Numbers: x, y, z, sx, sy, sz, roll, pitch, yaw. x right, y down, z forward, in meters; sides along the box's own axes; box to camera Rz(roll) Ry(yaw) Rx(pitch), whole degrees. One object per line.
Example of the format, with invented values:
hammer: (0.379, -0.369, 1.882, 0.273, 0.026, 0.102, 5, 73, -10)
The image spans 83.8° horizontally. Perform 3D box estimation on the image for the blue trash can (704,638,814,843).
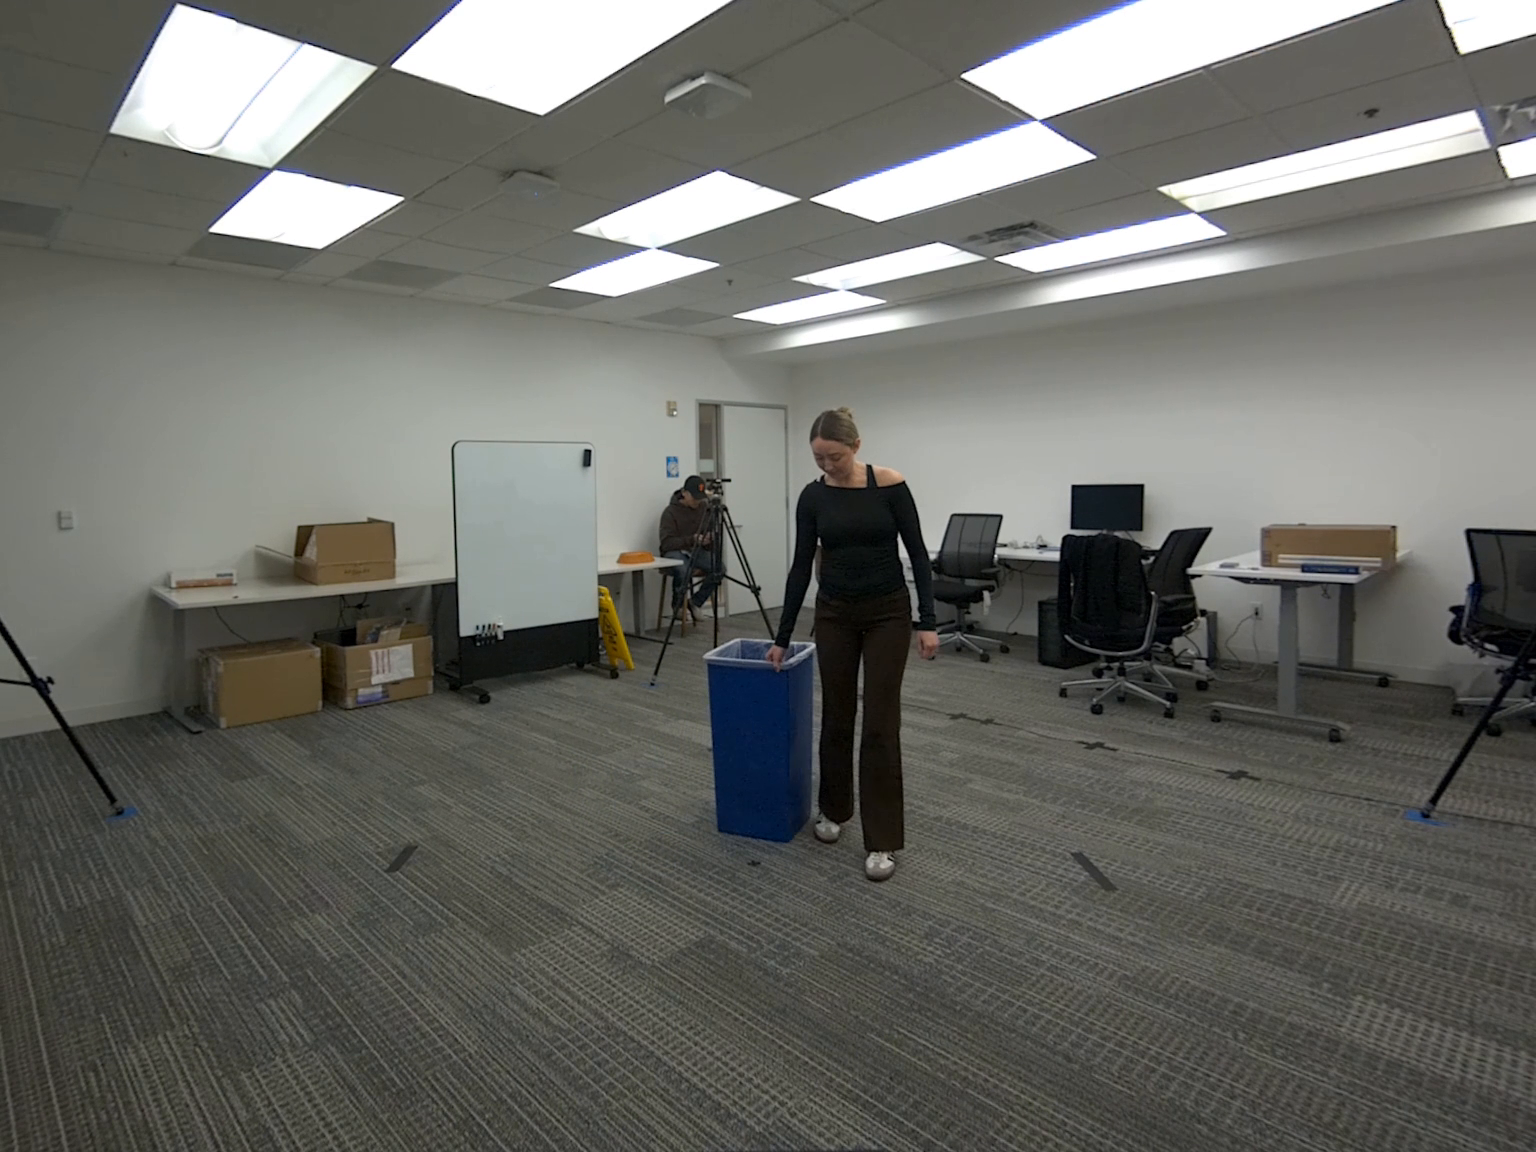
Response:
blue trash can: (-0.022, 0.647, 3.428, 0.386, 0.711, 0.368, 1, 5, 22)
